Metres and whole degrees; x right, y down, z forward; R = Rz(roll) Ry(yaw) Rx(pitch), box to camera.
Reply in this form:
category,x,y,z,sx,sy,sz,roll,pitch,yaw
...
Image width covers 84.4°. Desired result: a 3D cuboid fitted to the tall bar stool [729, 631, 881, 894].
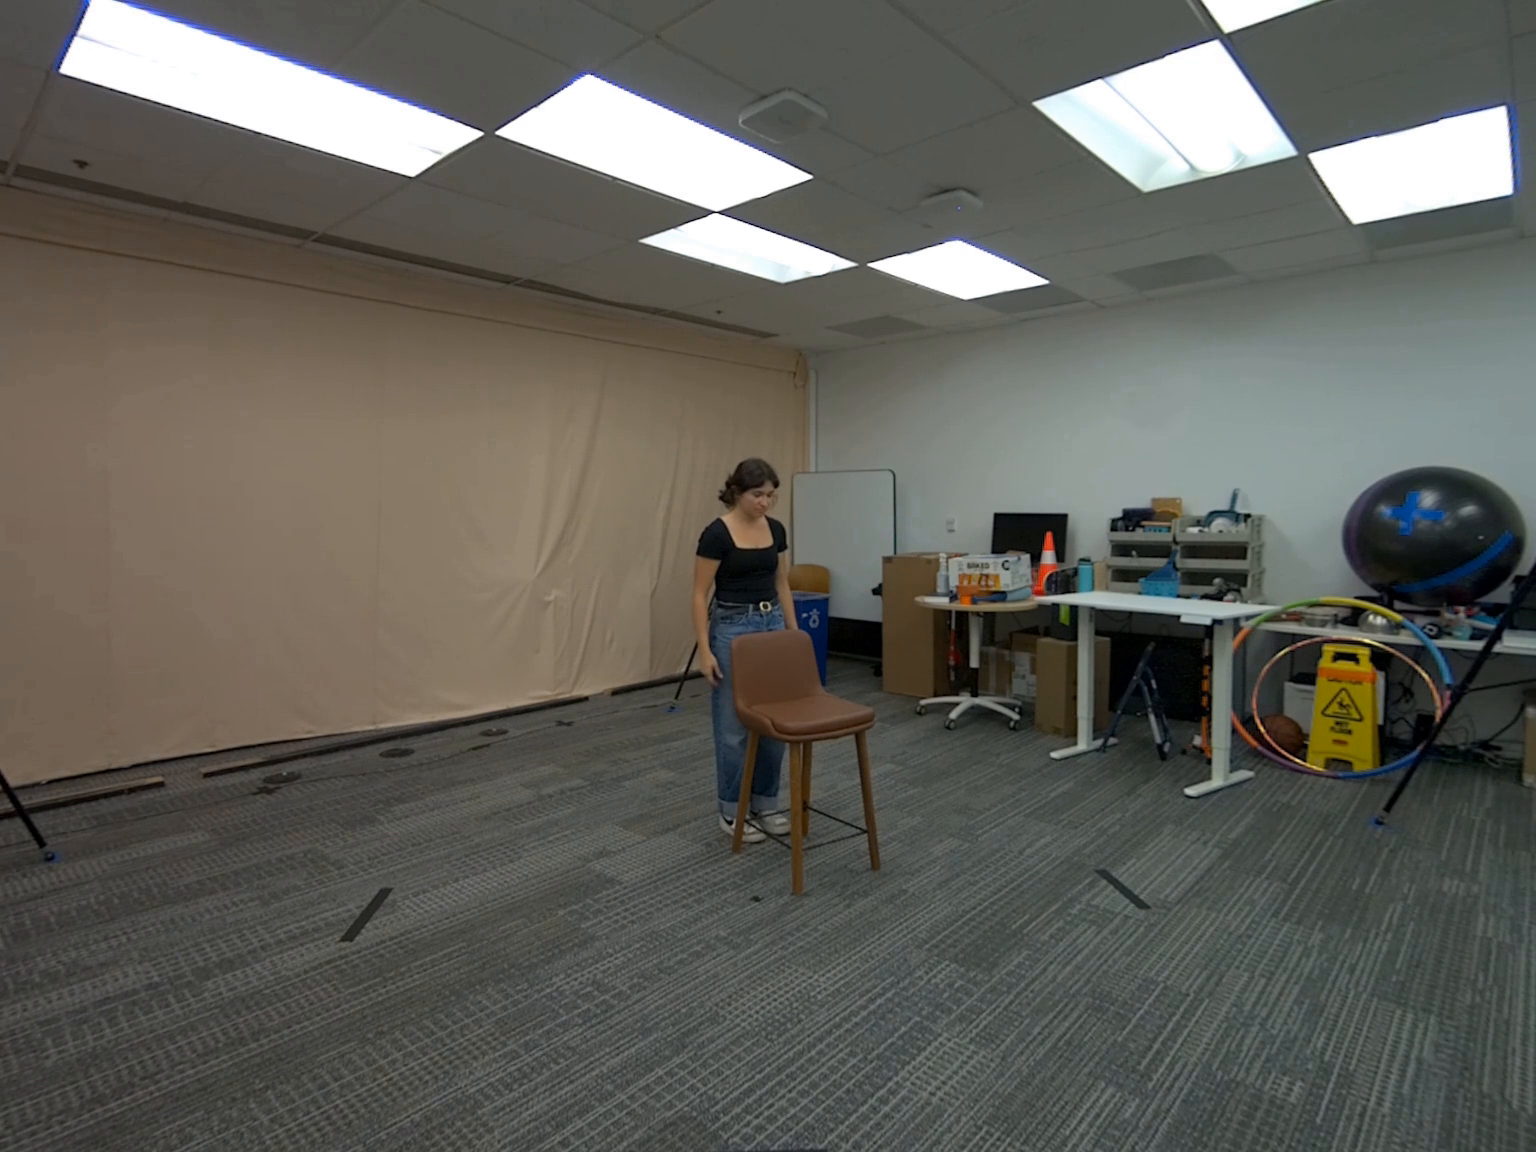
category,x,y,z,sx,sy,sz,roll,pitch,yaw
tall bar stool,0.135,0.684,3.278,0.443,0.889,0.482,-2,2,-35
